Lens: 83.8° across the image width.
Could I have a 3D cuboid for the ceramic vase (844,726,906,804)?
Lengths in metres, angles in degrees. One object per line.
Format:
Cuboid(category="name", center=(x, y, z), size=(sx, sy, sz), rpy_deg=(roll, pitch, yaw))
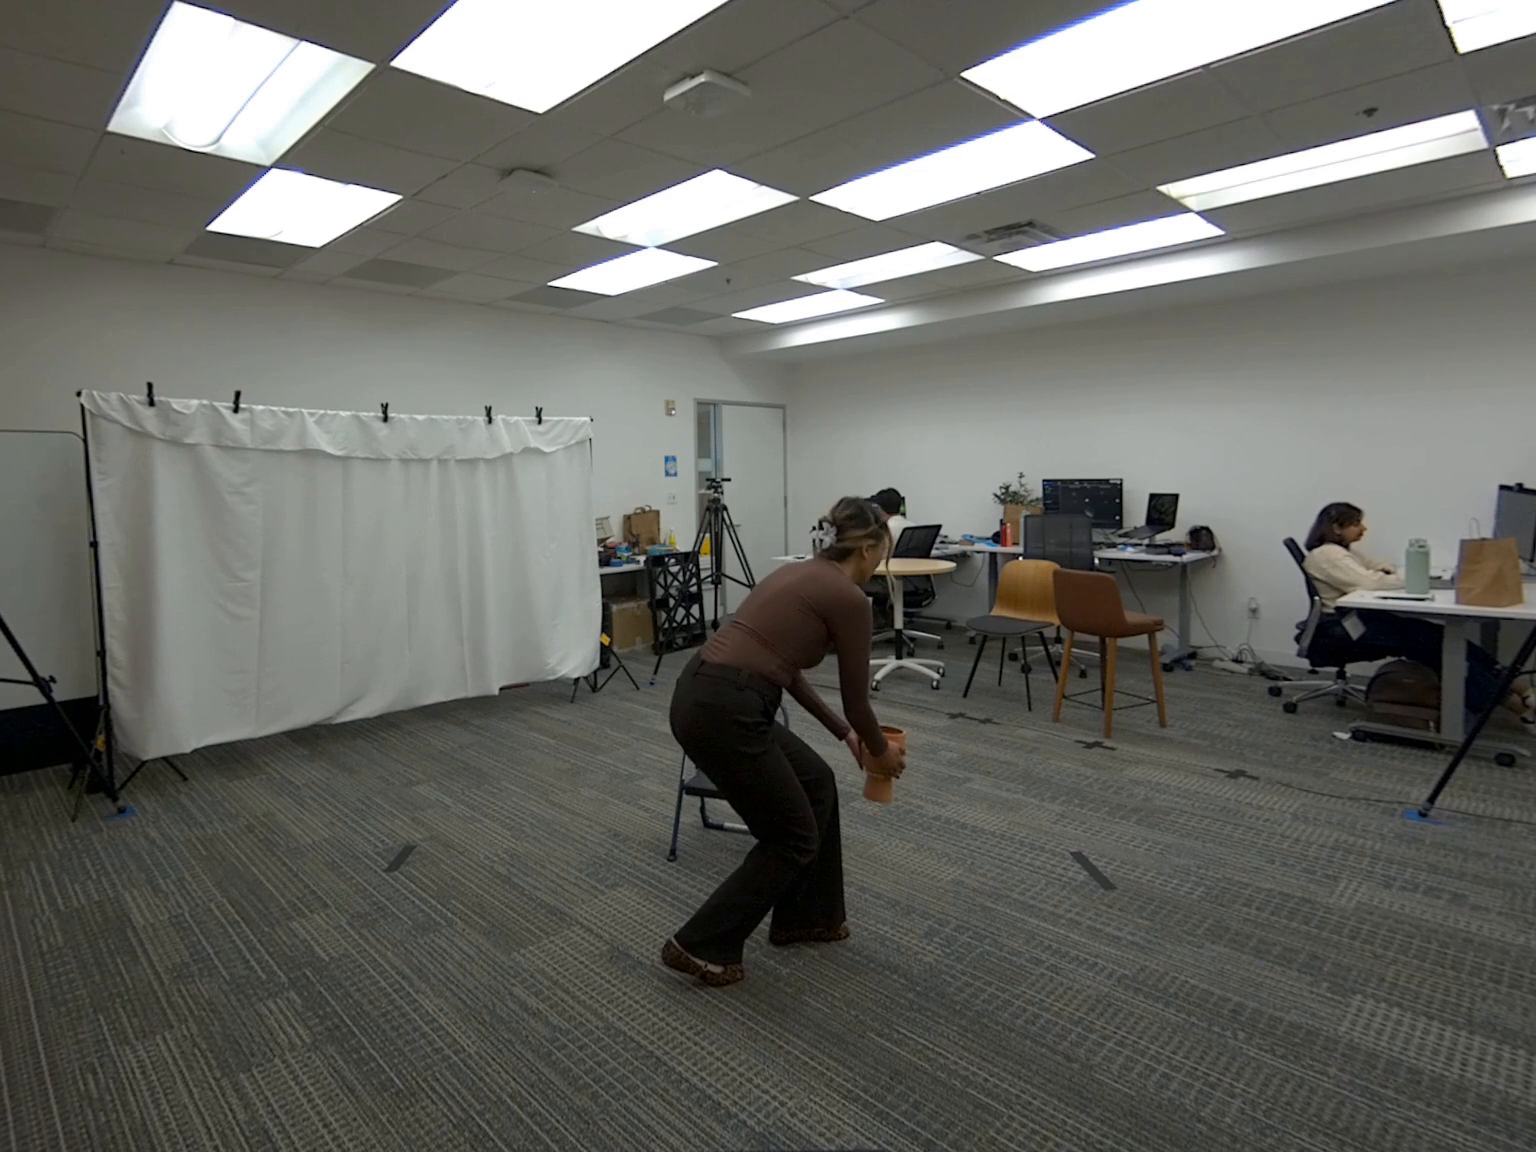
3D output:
Cuboid(category="ceramic vase", center=(0.370, 0.598, 2.721), size=(0.158, 0.219, 0.135), rpy_deg=(5, 2, -5))
